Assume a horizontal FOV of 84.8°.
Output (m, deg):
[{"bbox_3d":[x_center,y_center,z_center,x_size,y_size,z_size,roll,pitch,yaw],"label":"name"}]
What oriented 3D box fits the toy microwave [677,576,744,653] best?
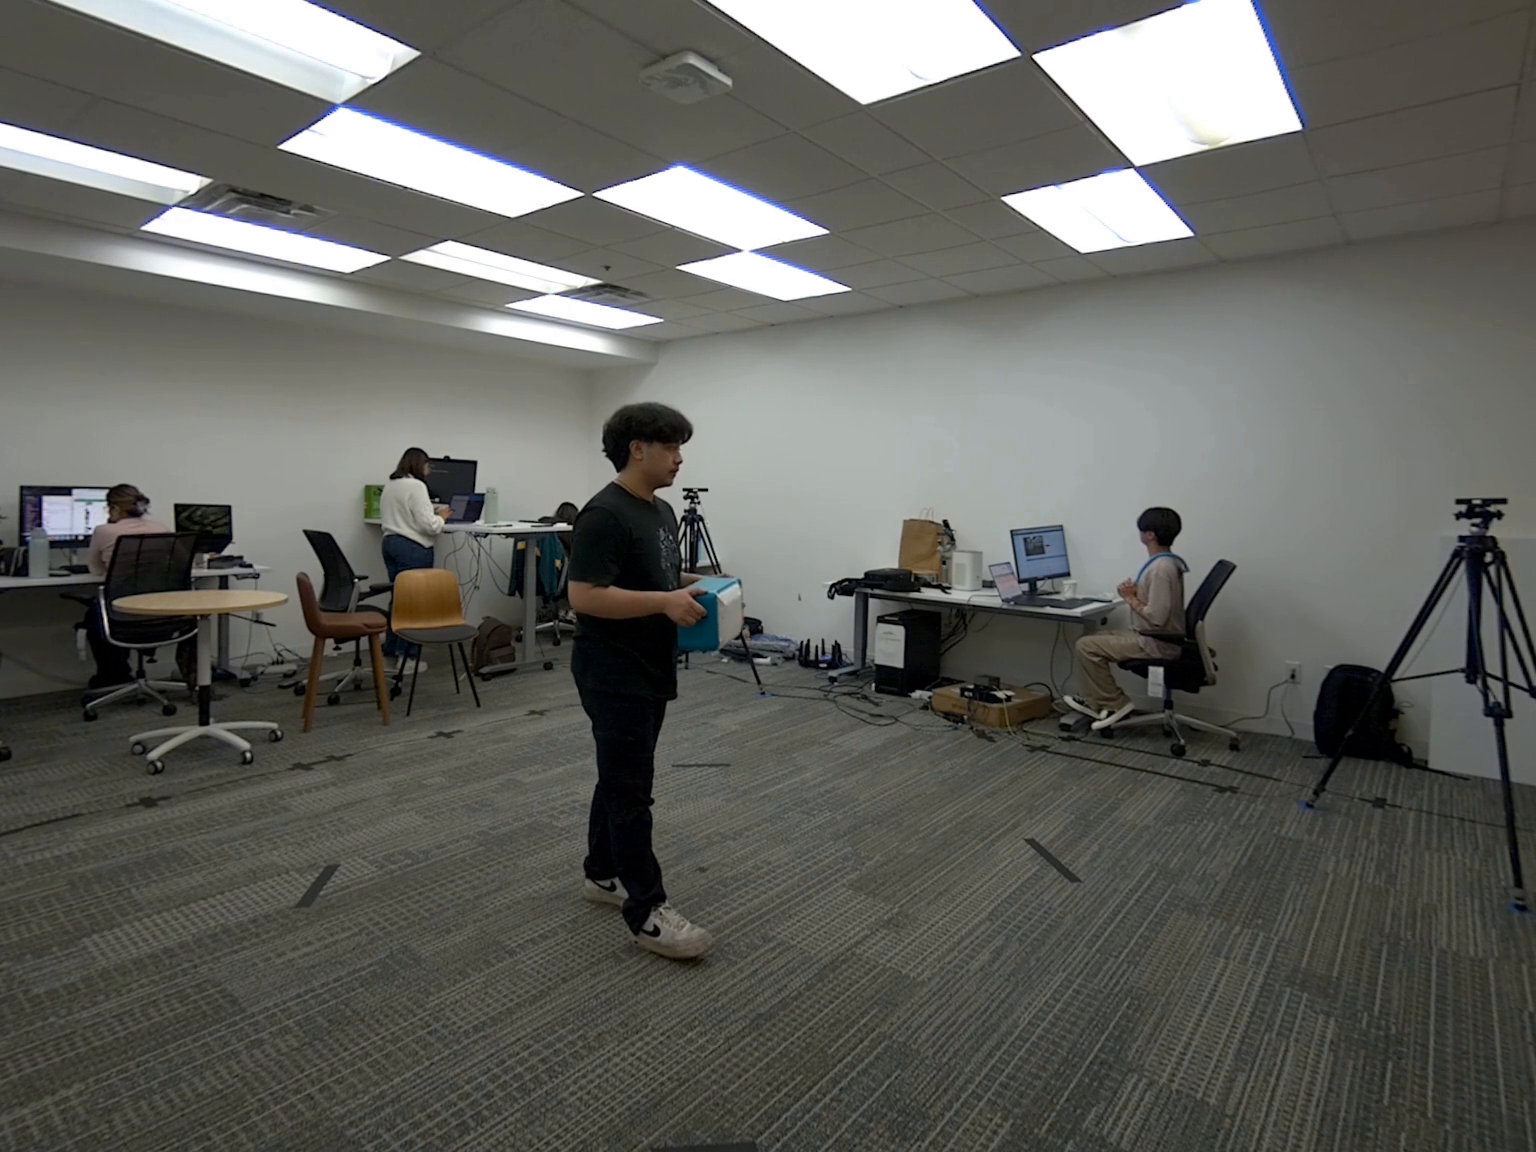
[{"bbox_3d":[-0.182,0.113,2.617,0.155,0.183,0.283,0,8,17],"label":"toy microwave"}]
